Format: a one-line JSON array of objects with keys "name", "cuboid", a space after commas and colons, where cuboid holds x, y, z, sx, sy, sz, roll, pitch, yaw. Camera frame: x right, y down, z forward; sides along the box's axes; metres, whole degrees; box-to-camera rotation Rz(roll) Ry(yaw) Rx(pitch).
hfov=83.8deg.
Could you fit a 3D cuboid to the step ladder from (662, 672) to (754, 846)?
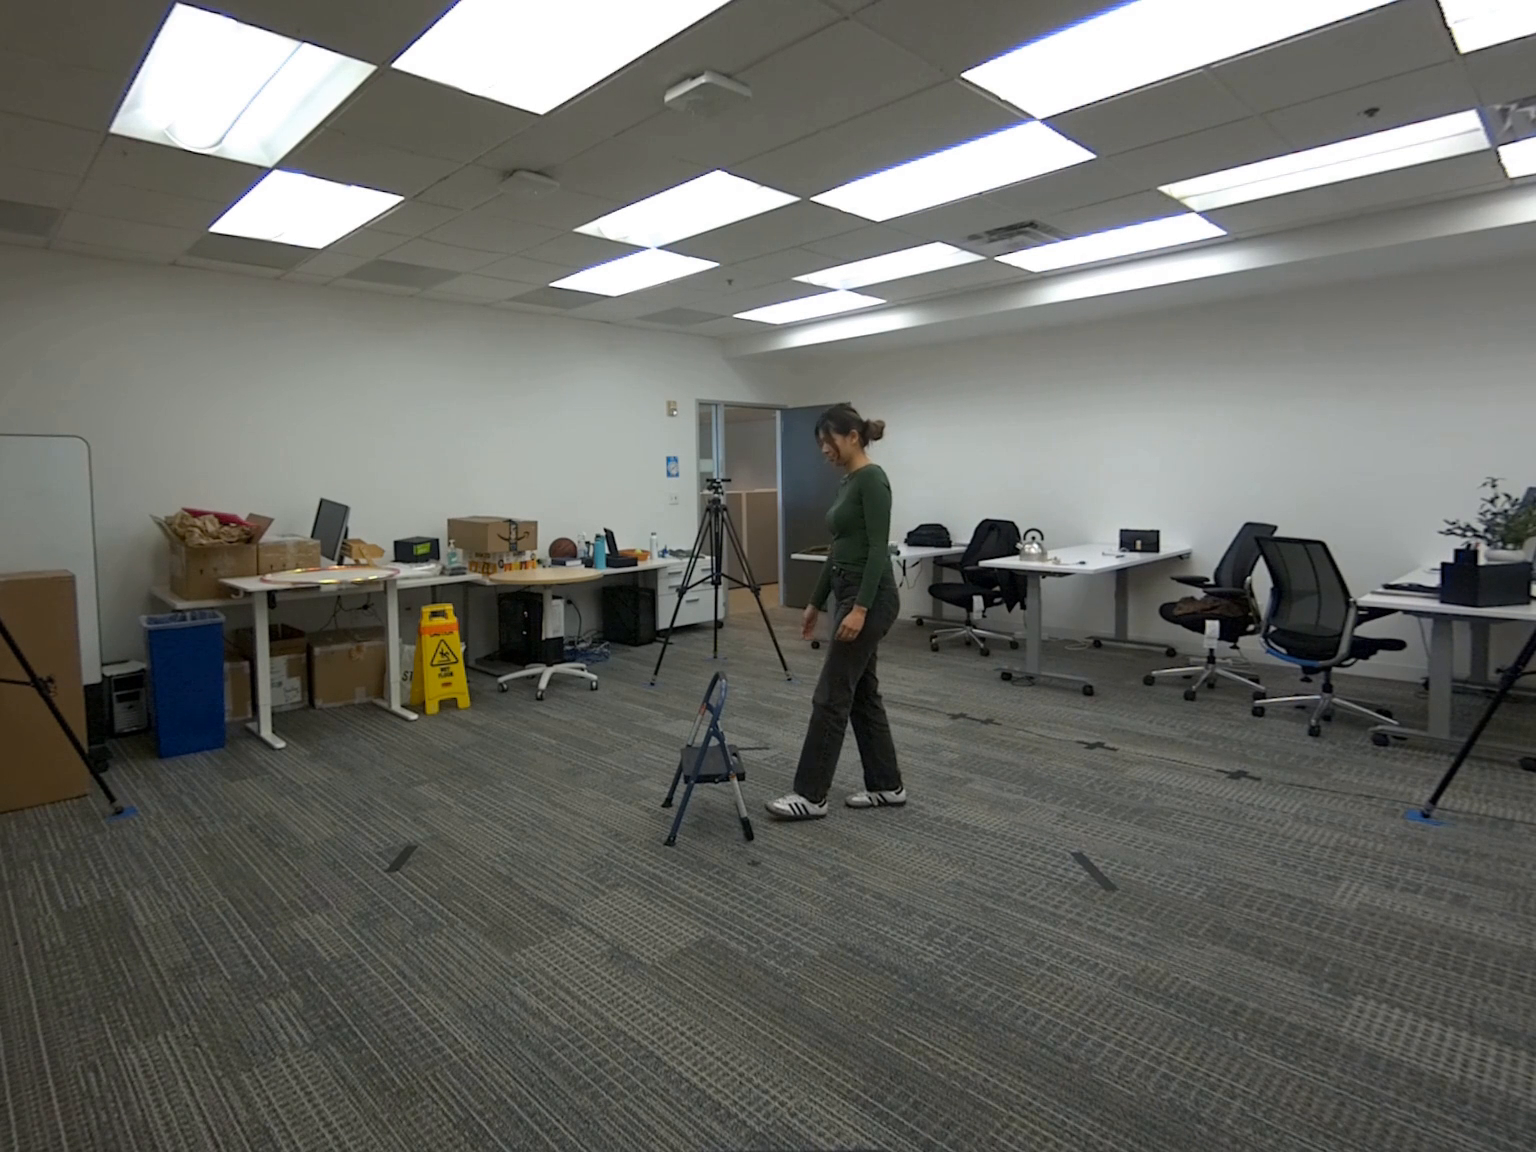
[{"name": "step ladder", "cuboid": [-0.248, 0.706, 3.464, 0.347, 0.604, 0.435, -1, 4, -7]}]
